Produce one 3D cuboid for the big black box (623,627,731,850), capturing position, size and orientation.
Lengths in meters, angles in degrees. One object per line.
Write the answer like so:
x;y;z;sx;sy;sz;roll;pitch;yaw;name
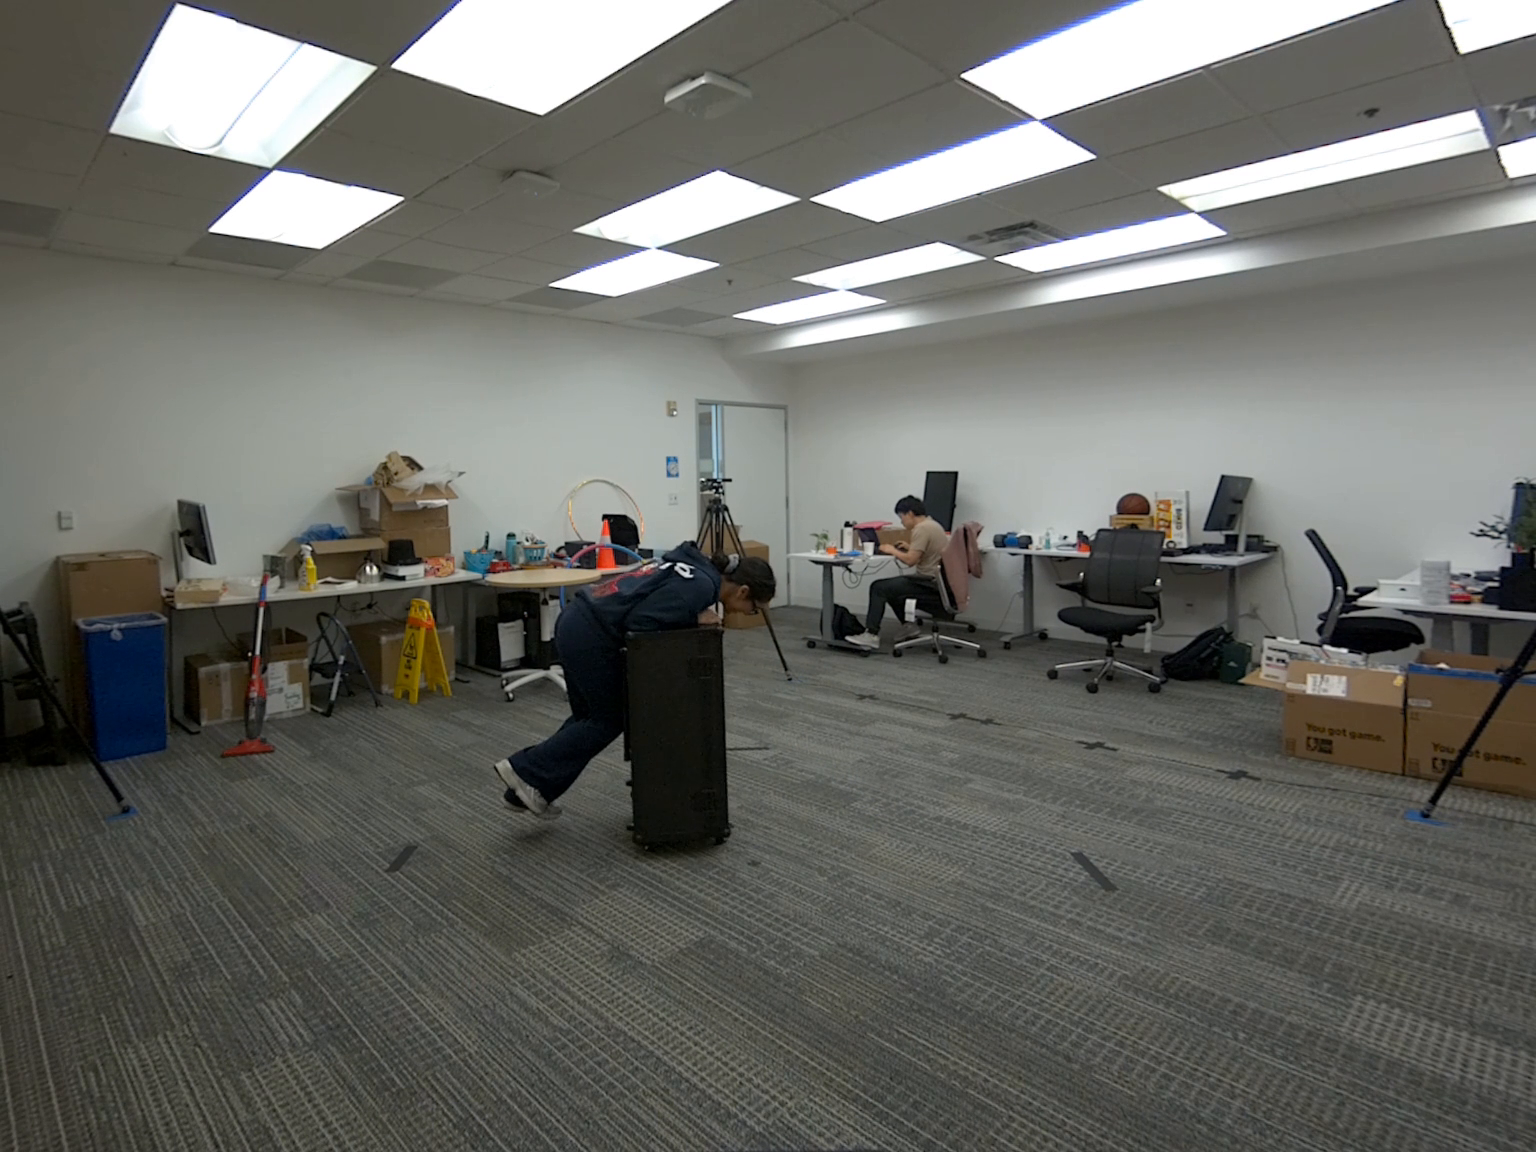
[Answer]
-0.378;0.599;3.352;0.393;0.858;0.528;-3;5;-10;big black box
